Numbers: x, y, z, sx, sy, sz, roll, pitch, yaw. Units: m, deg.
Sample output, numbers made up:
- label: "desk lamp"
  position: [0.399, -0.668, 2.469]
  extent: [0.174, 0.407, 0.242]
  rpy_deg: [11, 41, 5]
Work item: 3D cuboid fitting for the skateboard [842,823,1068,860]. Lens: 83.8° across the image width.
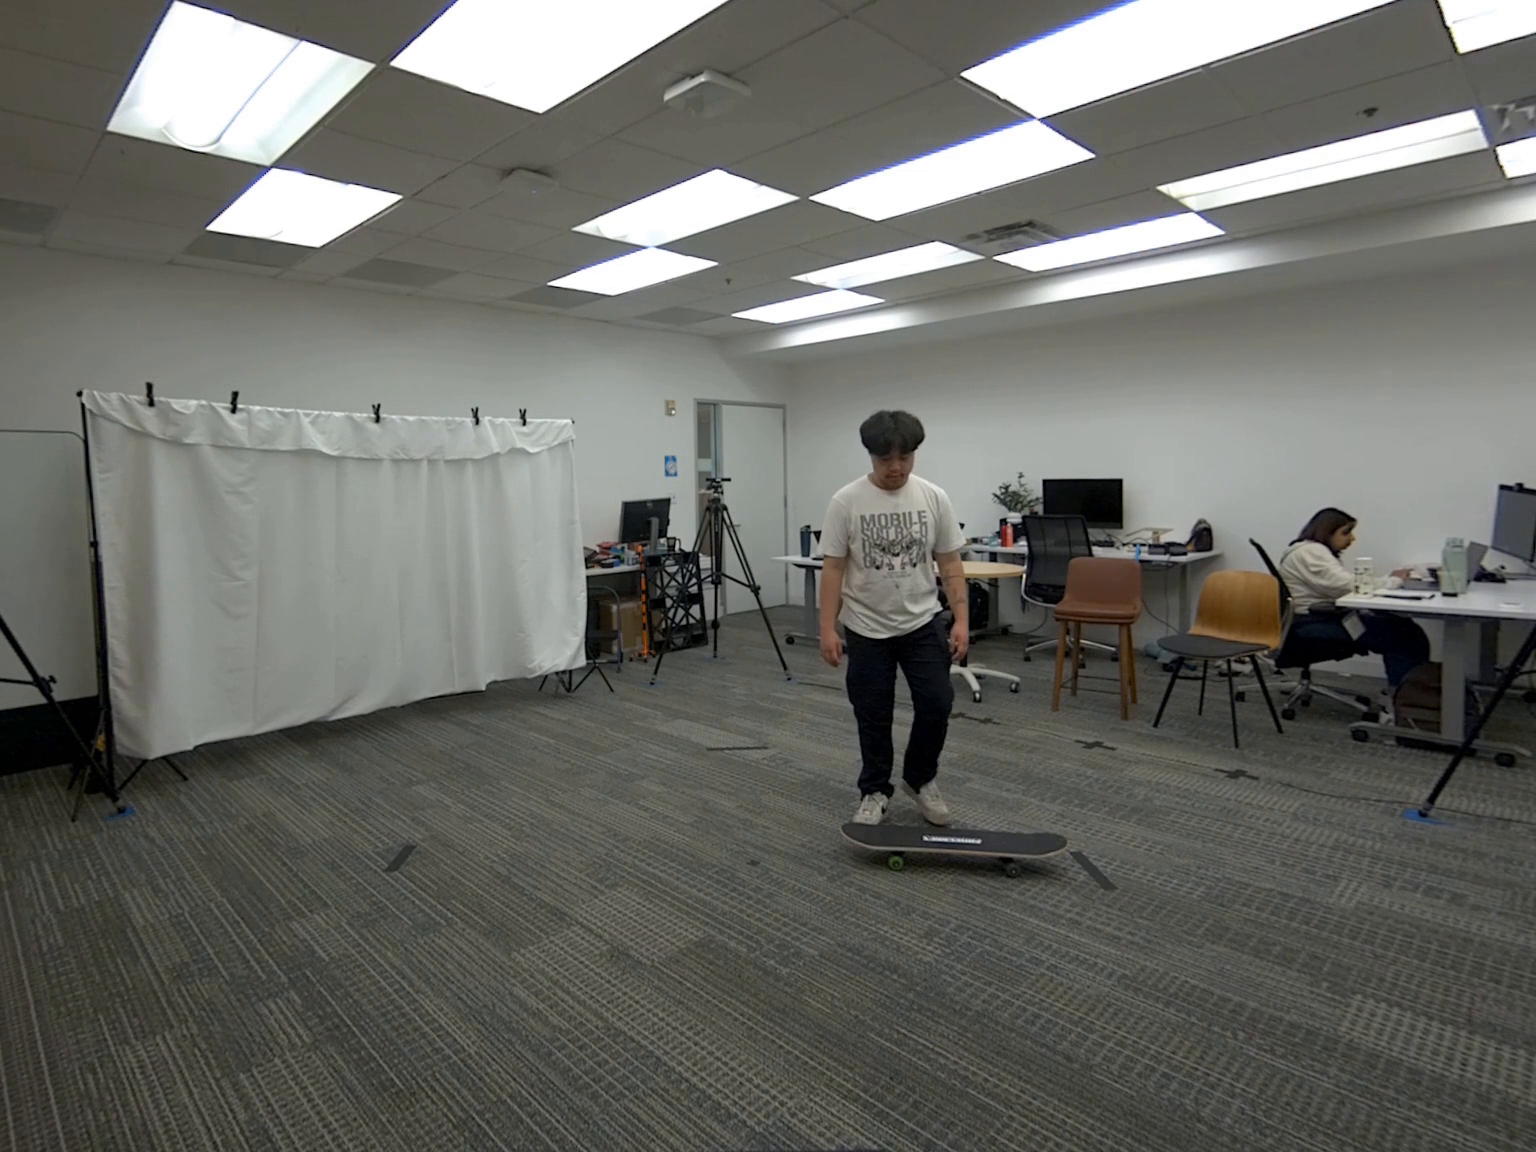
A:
- label: "skateboard"
  position: [0.655, 0.973, 3.076]
  extent: [0.794, 0.110, 0.192]
  rpy_deg: [0, 5, 11]
